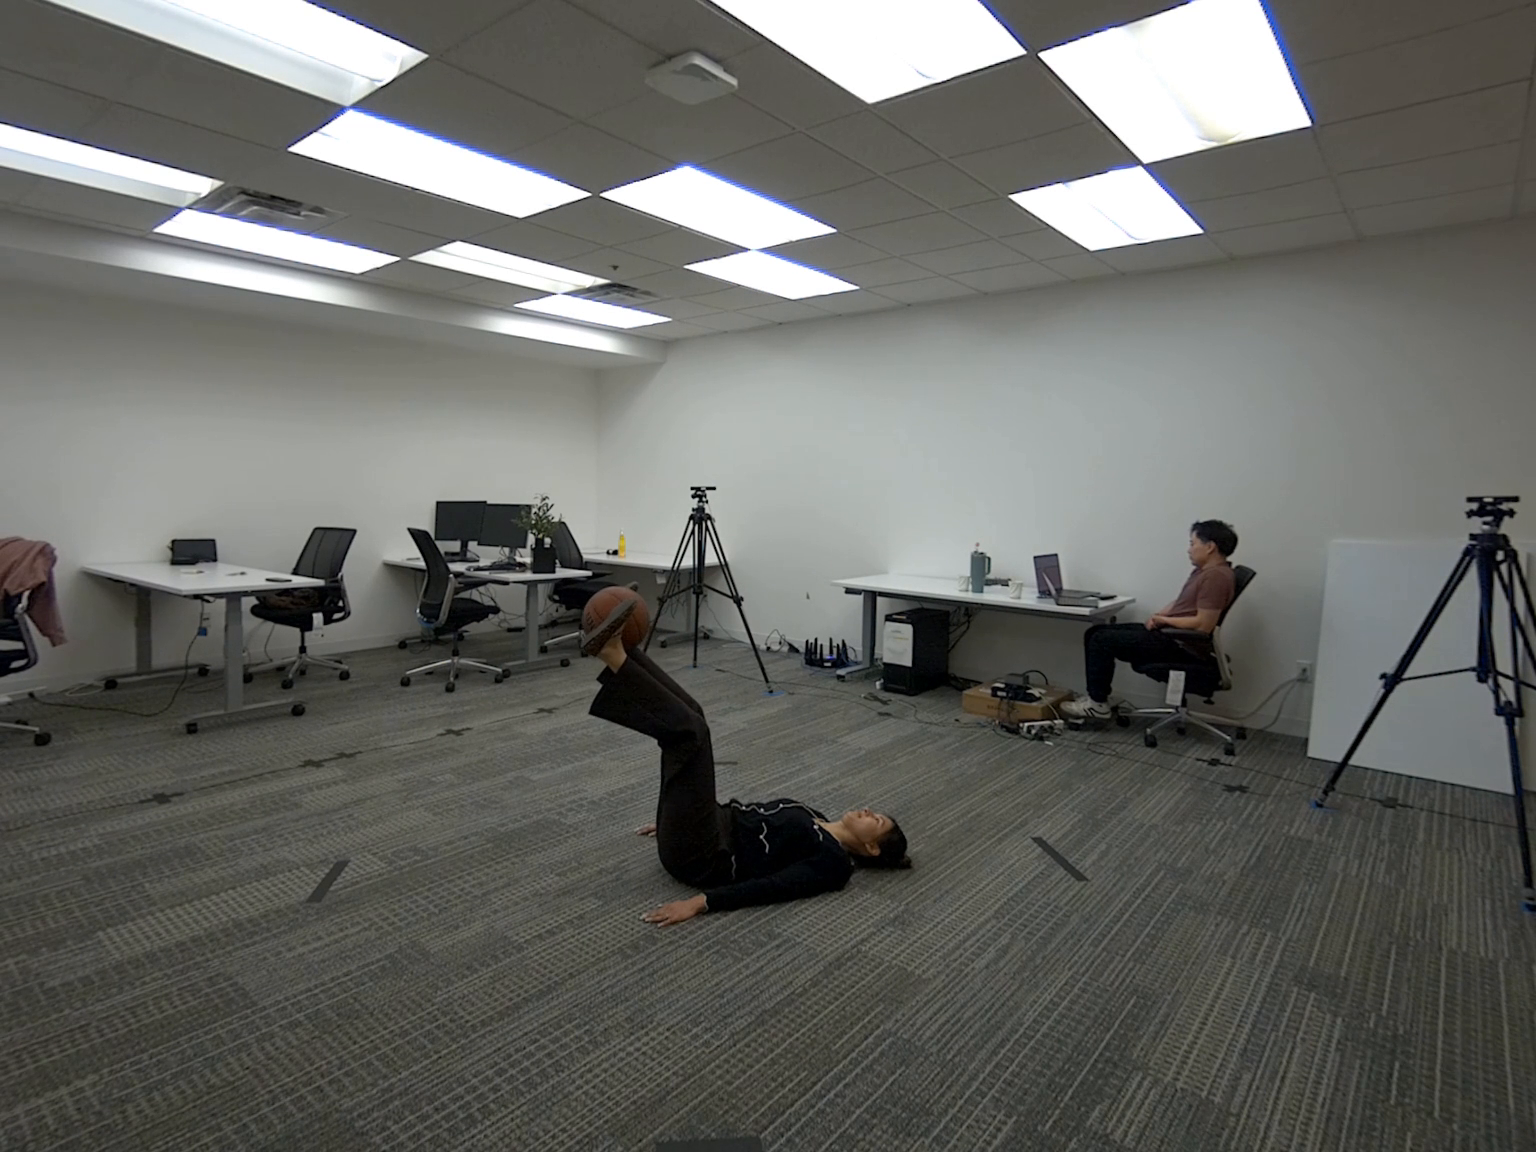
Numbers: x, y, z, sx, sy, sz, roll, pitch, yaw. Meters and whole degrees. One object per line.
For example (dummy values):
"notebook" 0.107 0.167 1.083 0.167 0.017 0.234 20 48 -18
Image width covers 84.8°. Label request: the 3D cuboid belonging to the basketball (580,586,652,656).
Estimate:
"basketball" -0.543 0.150 2.993 0.236 0.234 0.238 0 7 -2
